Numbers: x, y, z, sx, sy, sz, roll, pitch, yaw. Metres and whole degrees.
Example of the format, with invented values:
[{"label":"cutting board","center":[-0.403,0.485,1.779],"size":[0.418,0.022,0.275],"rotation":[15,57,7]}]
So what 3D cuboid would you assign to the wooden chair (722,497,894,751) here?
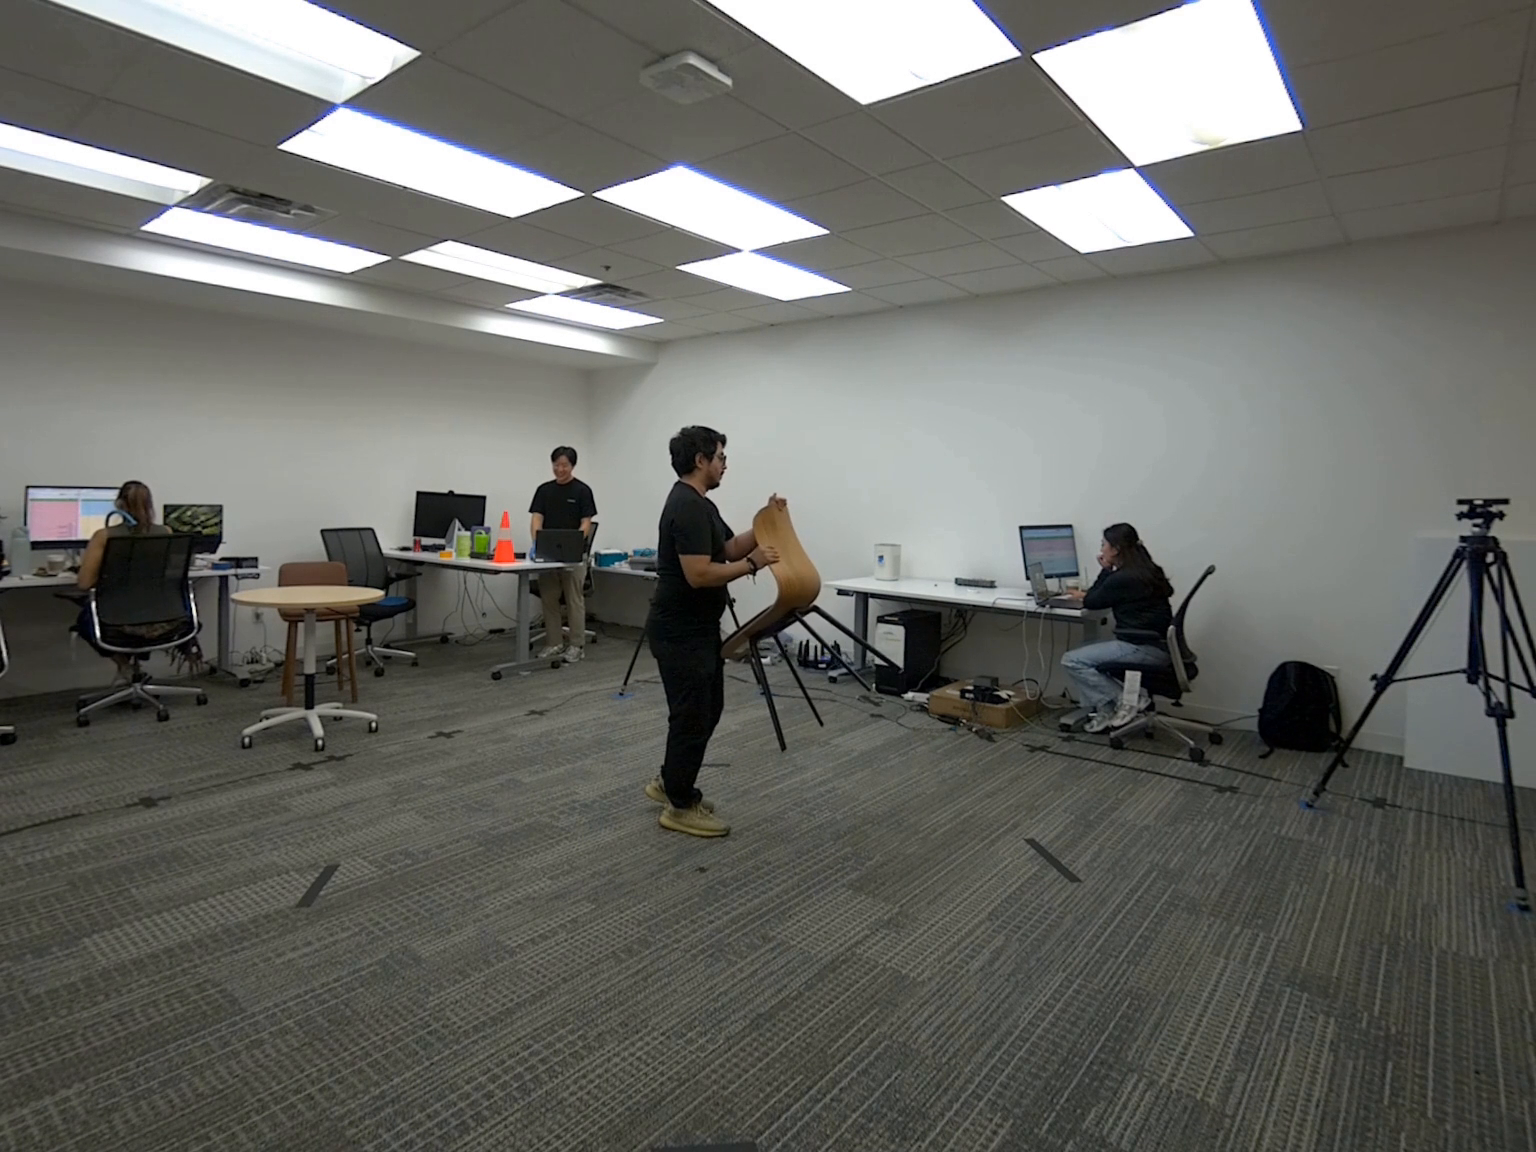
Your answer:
[{"label":"wooden chair","center":[0.057,0.200,3.548],"size":[0.526,0.892,0.467],"rotation":[-36,-12,23]}]
